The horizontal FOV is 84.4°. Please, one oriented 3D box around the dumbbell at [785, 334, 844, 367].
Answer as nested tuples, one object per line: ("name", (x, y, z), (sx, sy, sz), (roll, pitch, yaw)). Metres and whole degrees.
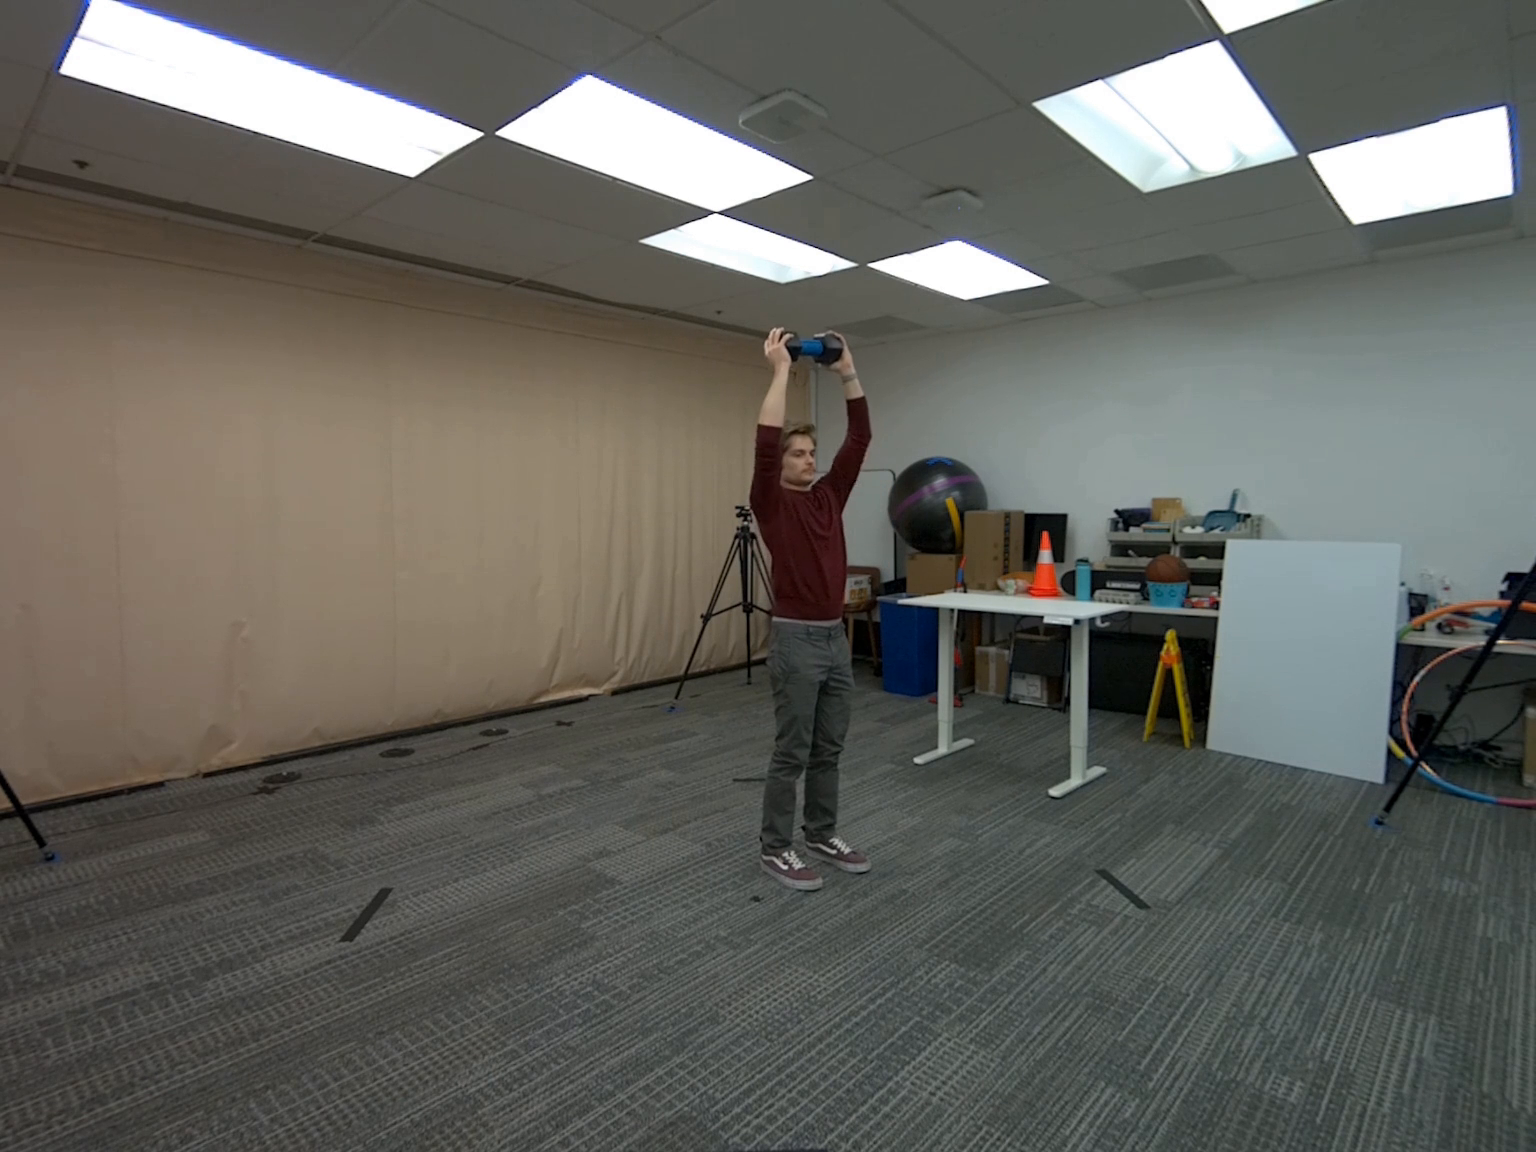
("dumbbell", (0.149, -0.831, 3.112), (0.286, 0.124, 0.110), (-12, -13, -39))
